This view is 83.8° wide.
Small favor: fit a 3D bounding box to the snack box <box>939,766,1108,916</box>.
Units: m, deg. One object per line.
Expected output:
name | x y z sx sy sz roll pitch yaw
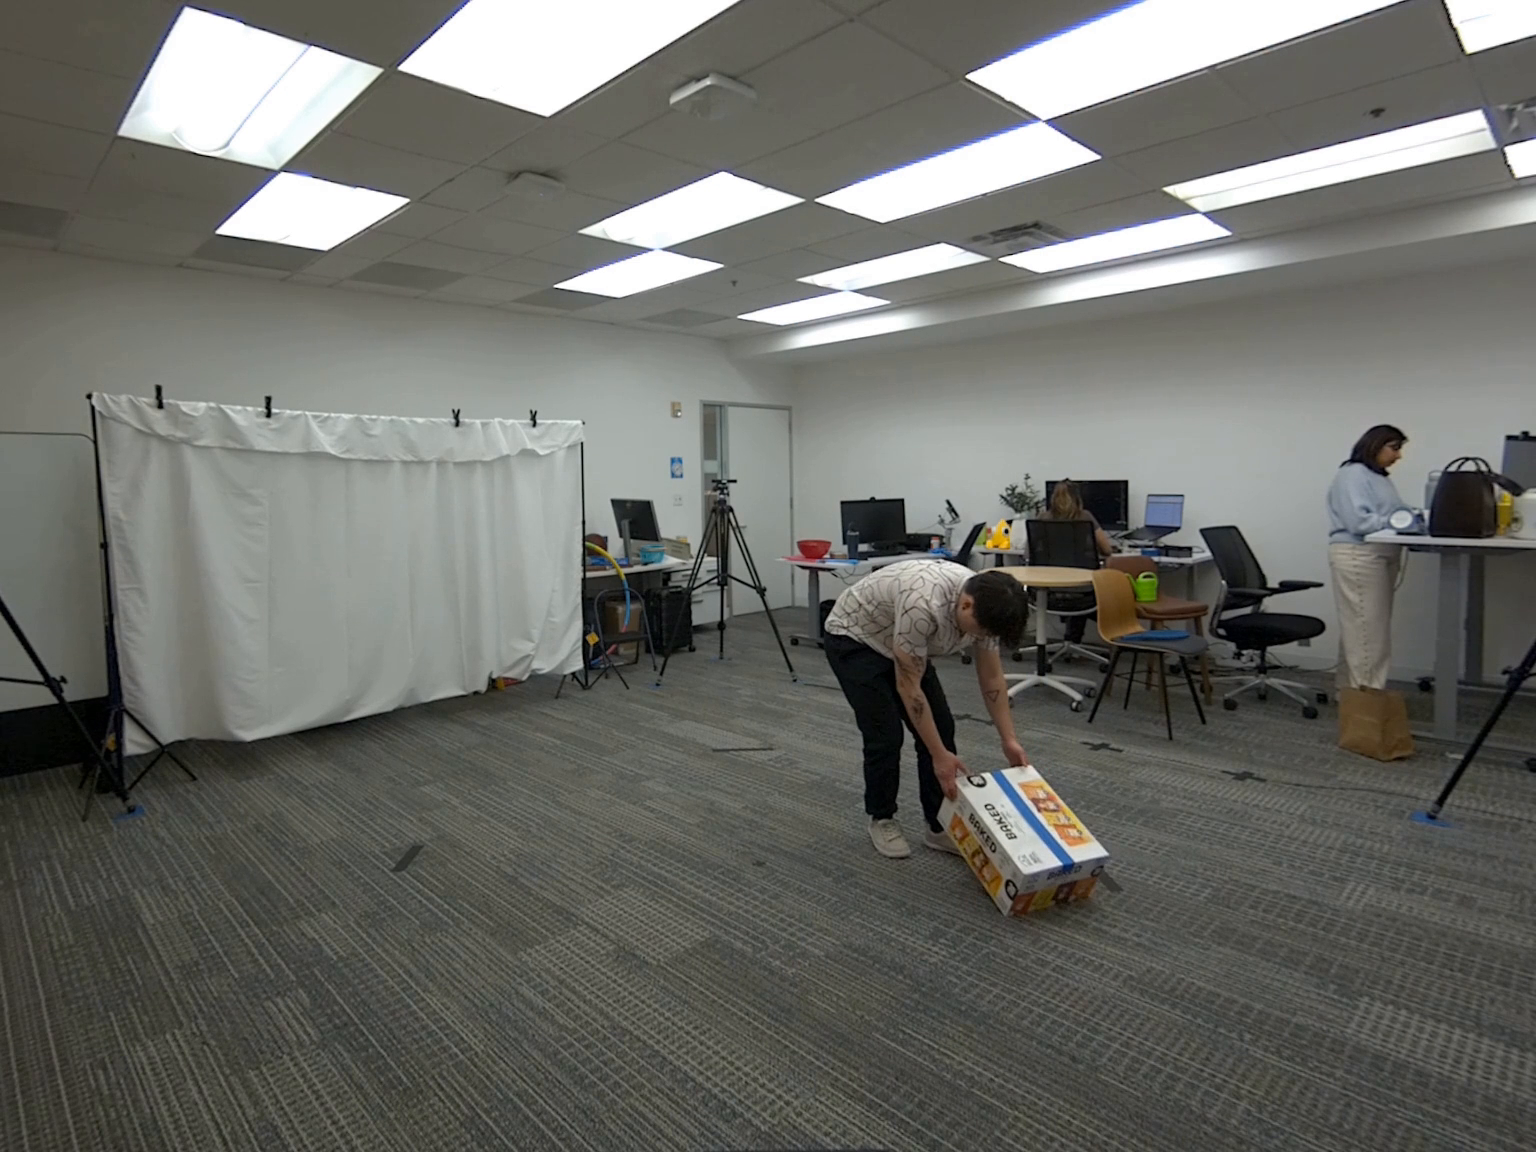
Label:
snack box | 0.846 0.879 2.868 0.334 0.202 0.420 -3 33 -23
